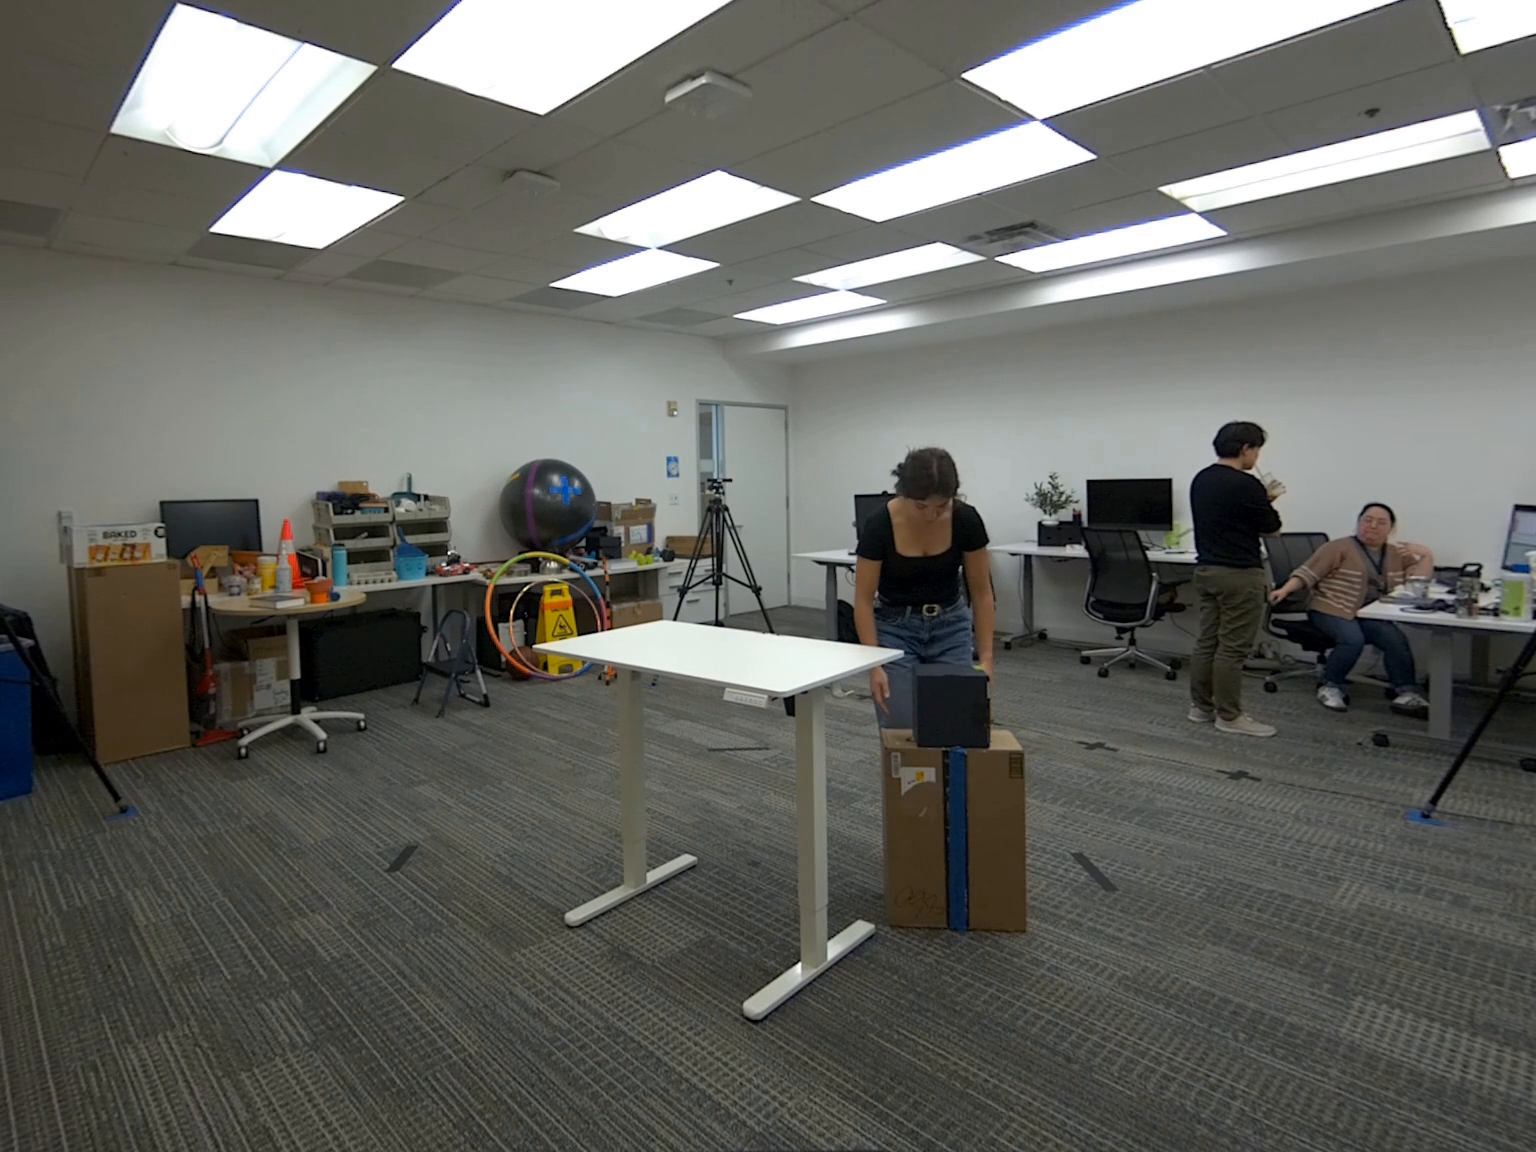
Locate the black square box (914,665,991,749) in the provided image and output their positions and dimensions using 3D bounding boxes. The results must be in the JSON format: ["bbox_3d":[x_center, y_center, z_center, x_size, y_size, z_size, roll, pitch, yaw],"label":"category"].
[{"bbox_3d":[0.558,0.397,2.665,0.218,0.227,0.156,1,5,5],"label":"black square box"}]
